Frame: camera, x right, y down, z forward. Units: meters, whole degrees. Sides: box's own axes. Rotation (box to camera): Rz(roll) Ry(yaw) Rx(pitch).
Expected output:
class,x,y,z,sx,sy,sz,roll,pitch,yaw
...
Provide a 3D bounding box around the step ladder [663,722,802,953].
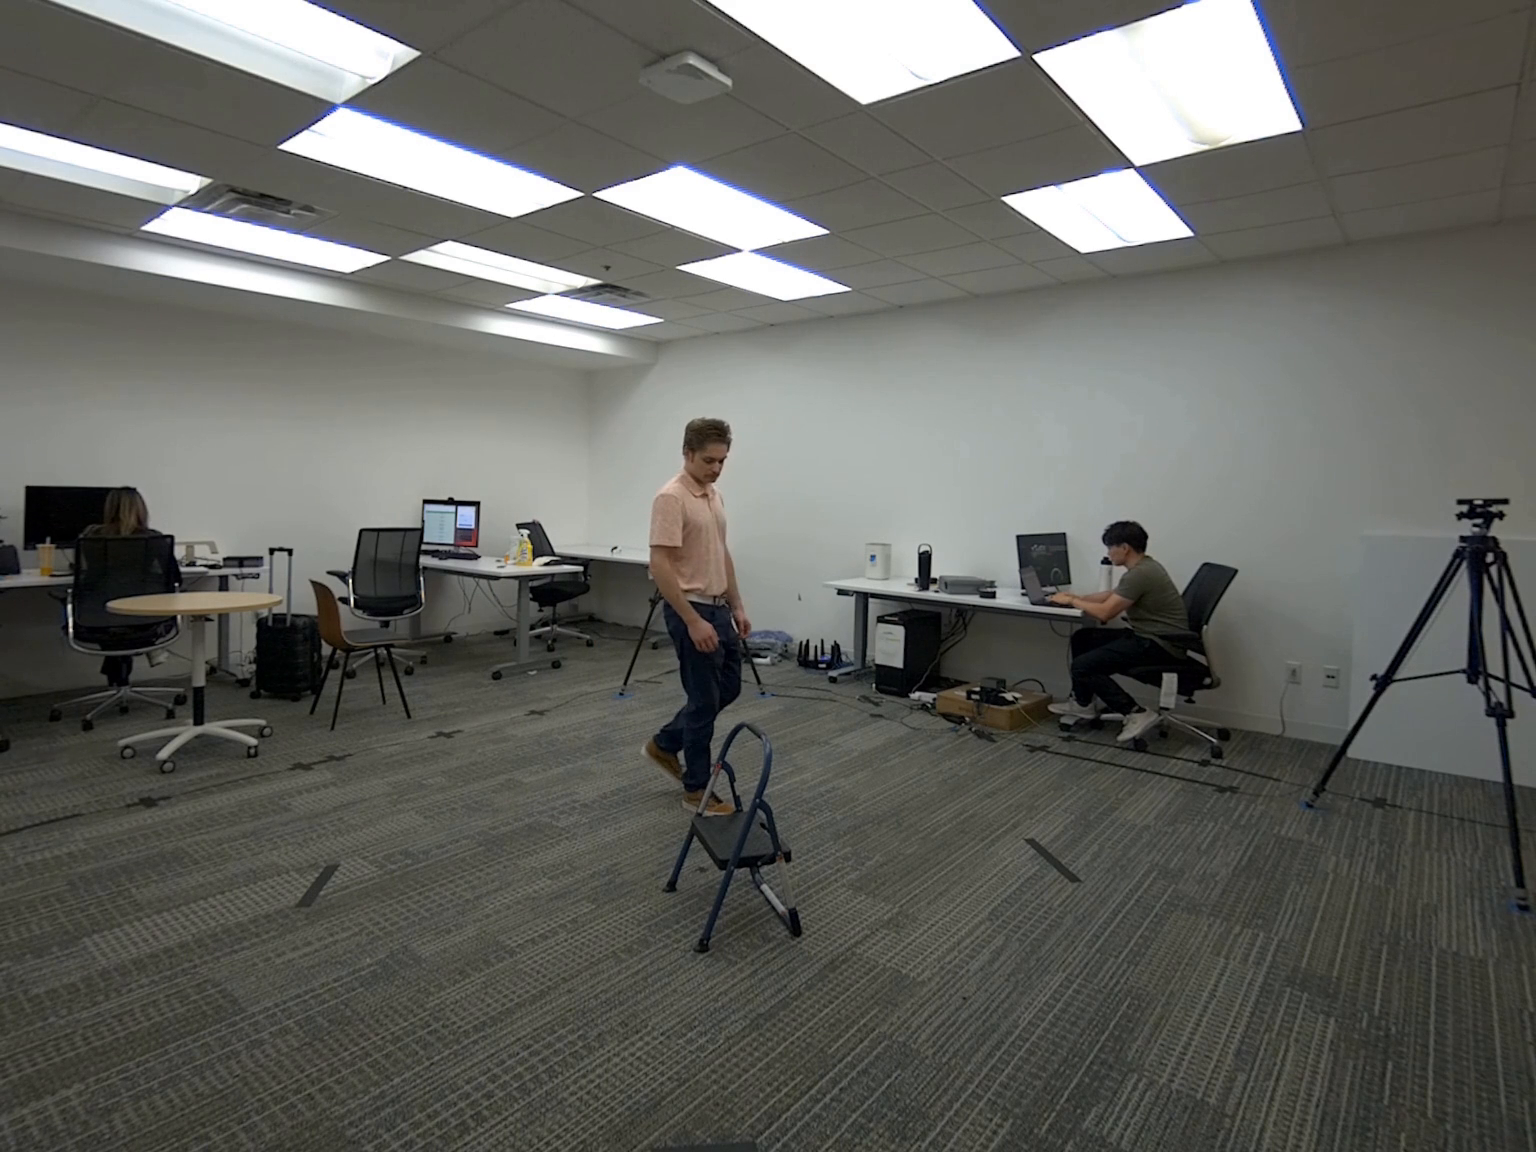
class,x,y,z,sx,sy,sz,roll,pitch,yaw
step ladder,-0.126,0.799,2.779,0.342,0.604,0.441,0,4,-20
